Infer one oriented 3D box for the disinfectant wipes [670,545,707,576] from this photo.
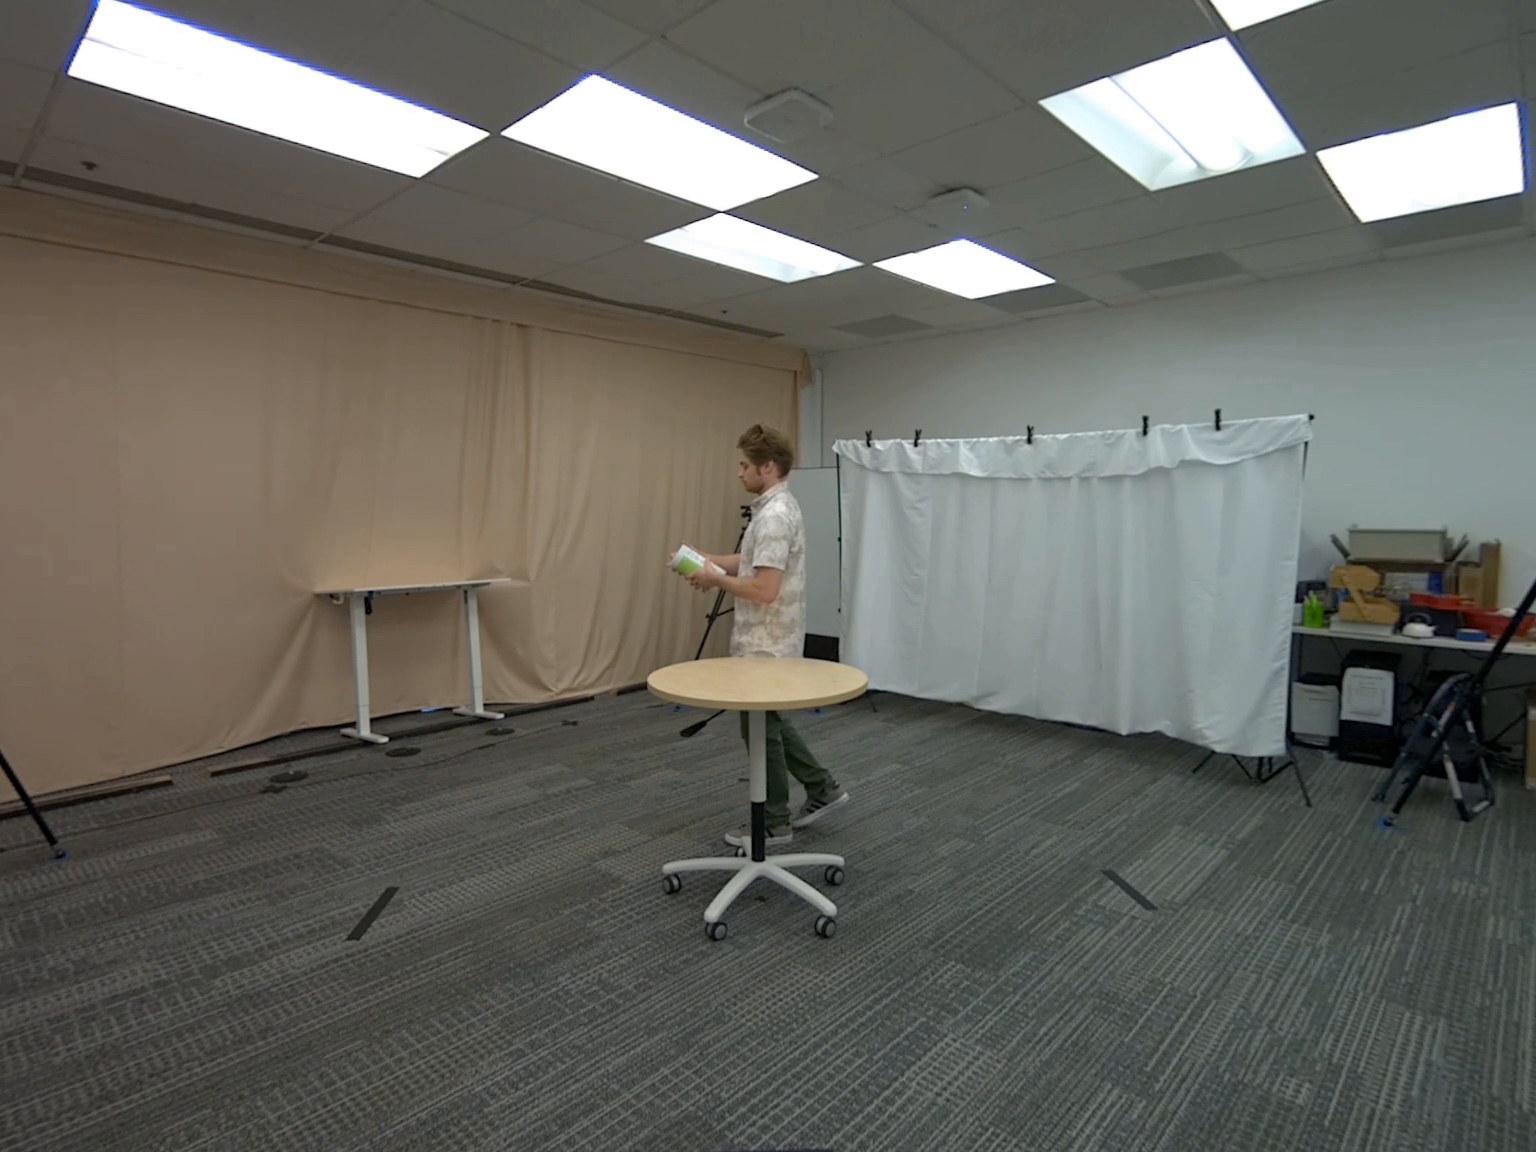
[{"bbox_3d":[-0.286,-0.029,3.466,0.217,0.118,0.118,32,3,-1],"label":"disinfectant wipes"}]
